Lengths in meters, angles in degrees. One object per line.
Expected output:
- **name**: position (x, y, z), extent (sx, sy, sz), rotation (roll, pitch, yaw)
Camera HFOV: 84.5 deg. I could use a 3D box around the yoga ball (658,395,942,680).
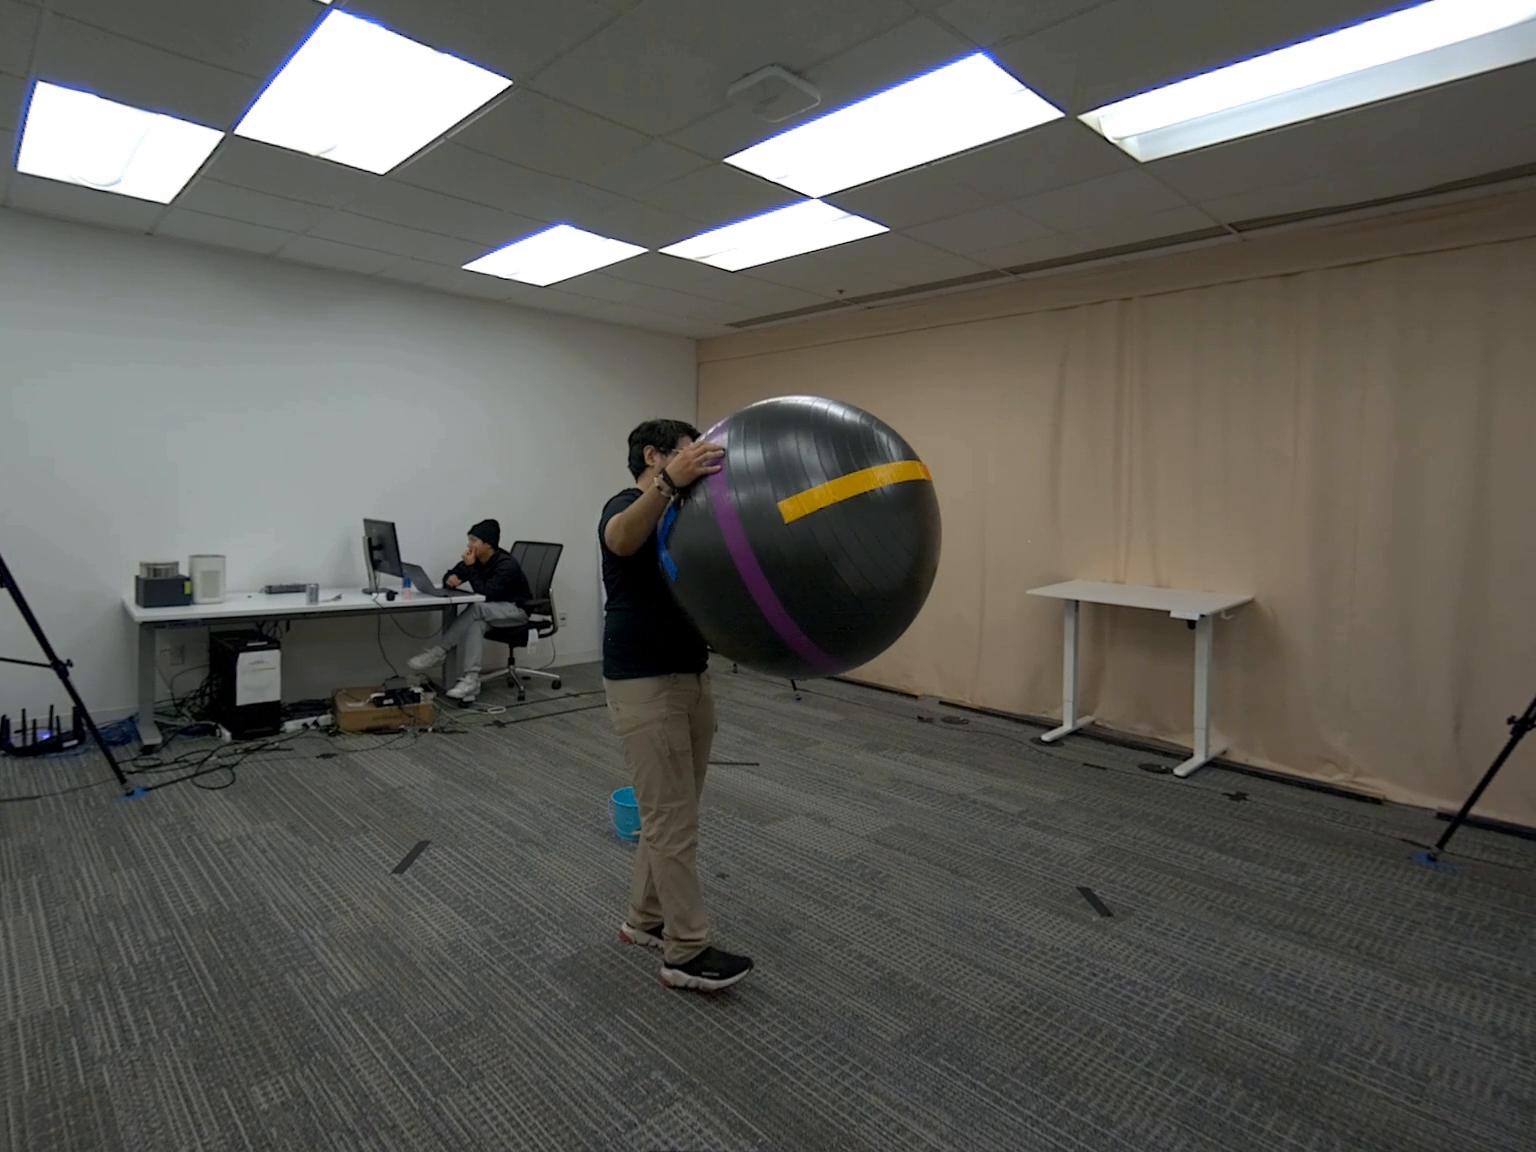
- **yoga ball**: position (0.089, -0.093, 2.260), extent (0.757, 0.756, 0.761), rotation (1, 4, -1)
